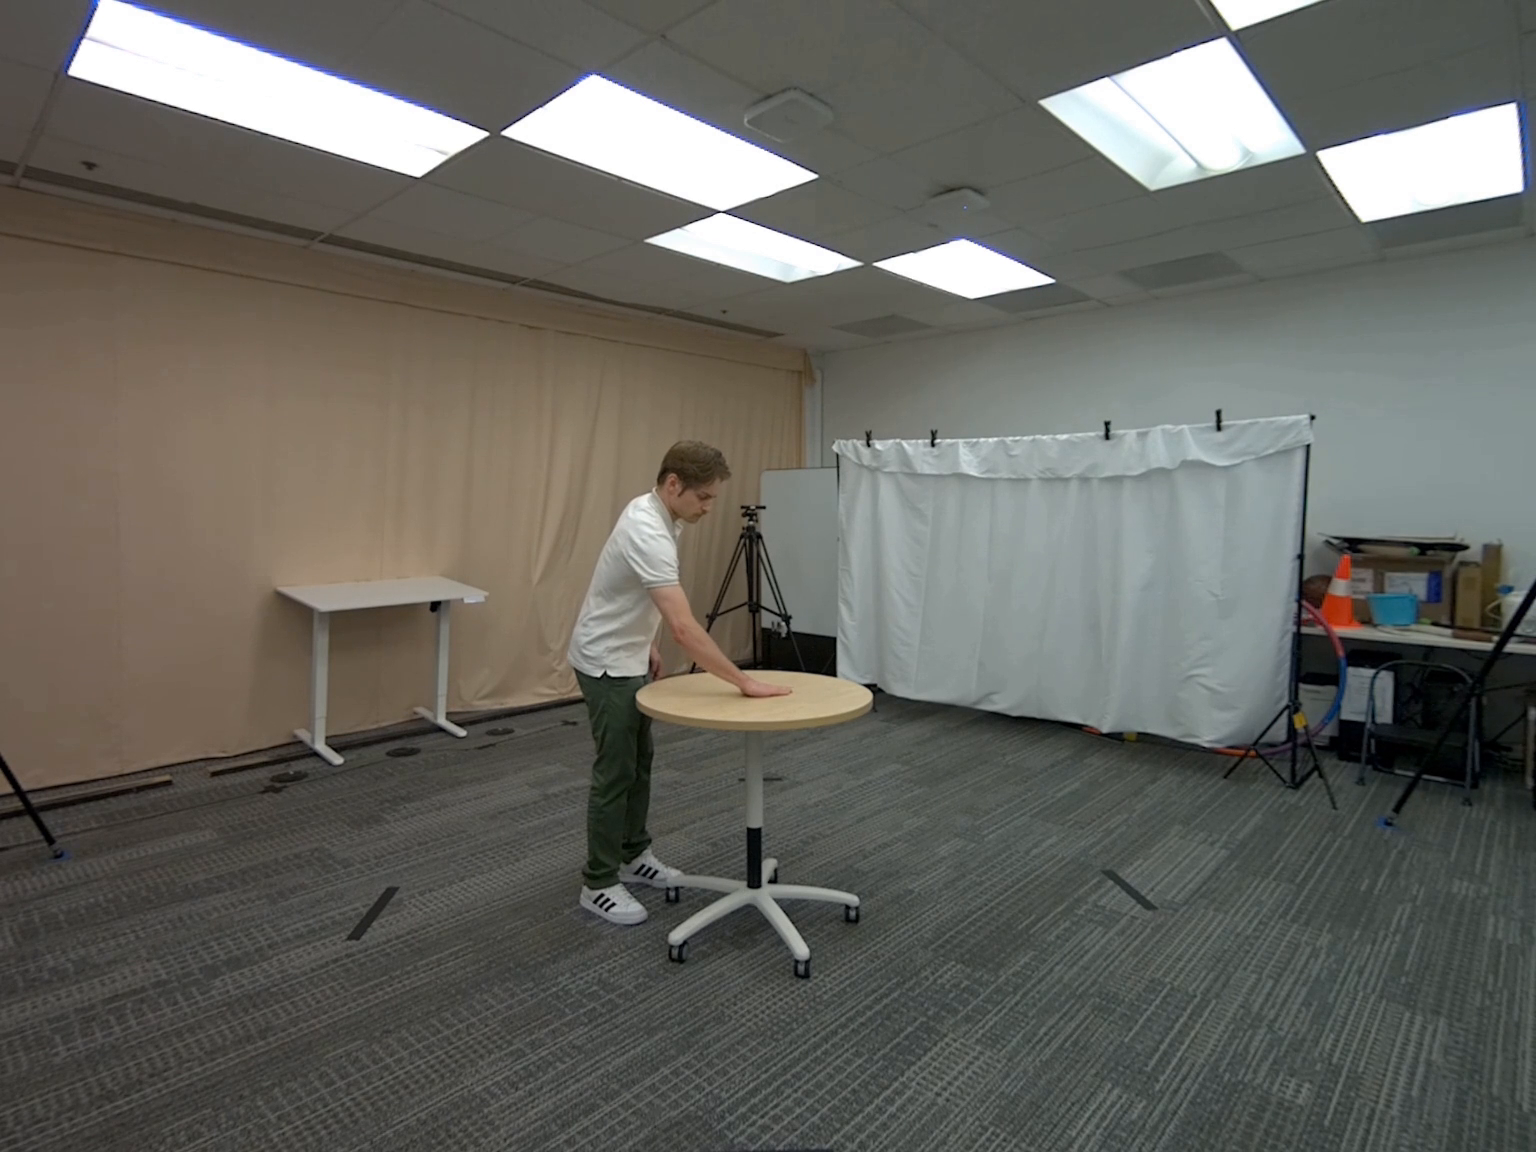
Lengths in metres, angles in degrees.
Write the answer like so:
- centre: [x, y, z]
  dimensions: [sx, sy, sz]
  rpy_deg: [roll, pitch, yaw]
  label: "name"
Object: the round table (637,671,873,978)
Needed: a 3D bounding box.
- centre: [-0.034, 0.771, 2.744]
  dimensions: [0.784, 0.785, 0.787]
  rpy_deg: [-1, 3, -2]
  label: "round table"
